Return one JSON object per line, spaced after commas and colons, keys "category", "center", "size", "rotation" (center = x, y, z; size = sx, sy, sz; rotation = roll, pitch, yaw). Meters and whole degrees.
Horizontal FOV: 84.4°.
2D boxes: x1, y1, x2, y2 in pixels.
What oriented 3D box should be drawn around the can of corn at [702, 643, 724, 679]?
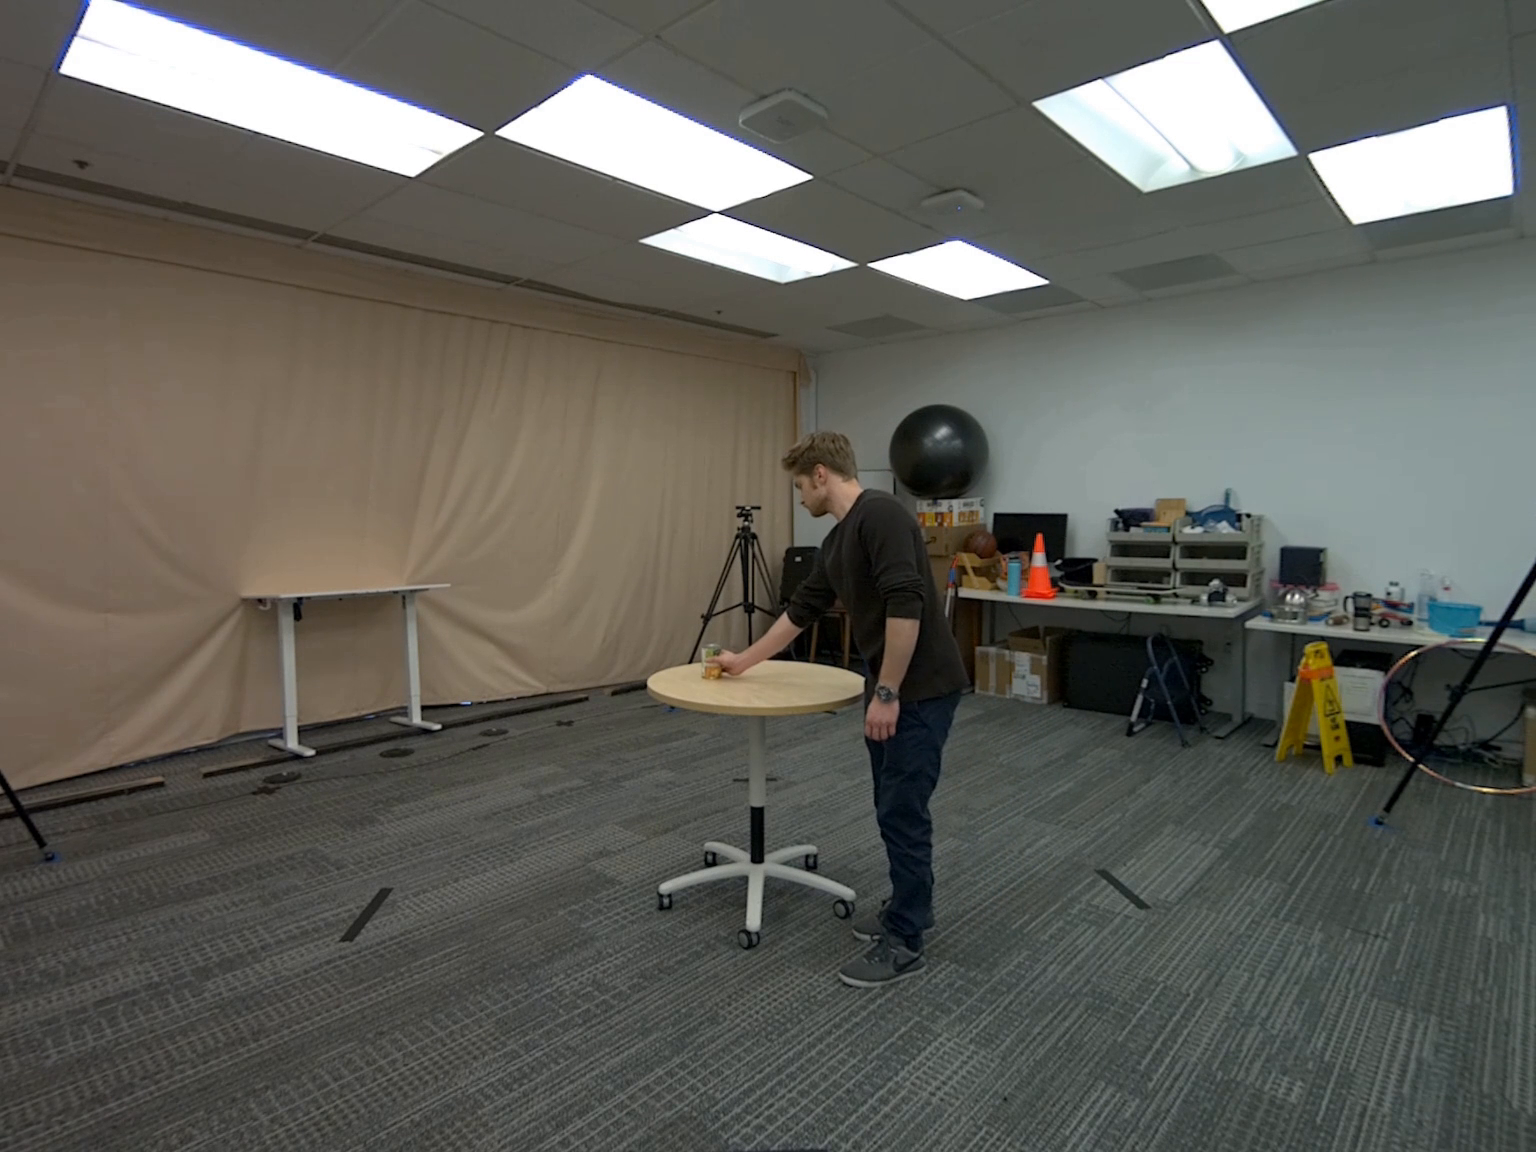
{"category": "can of corn", "center": [-0.191, 0.306, 2.980], "size": [0.074, 0.111, 0.074], "rotation": [3, 2, -2]}
